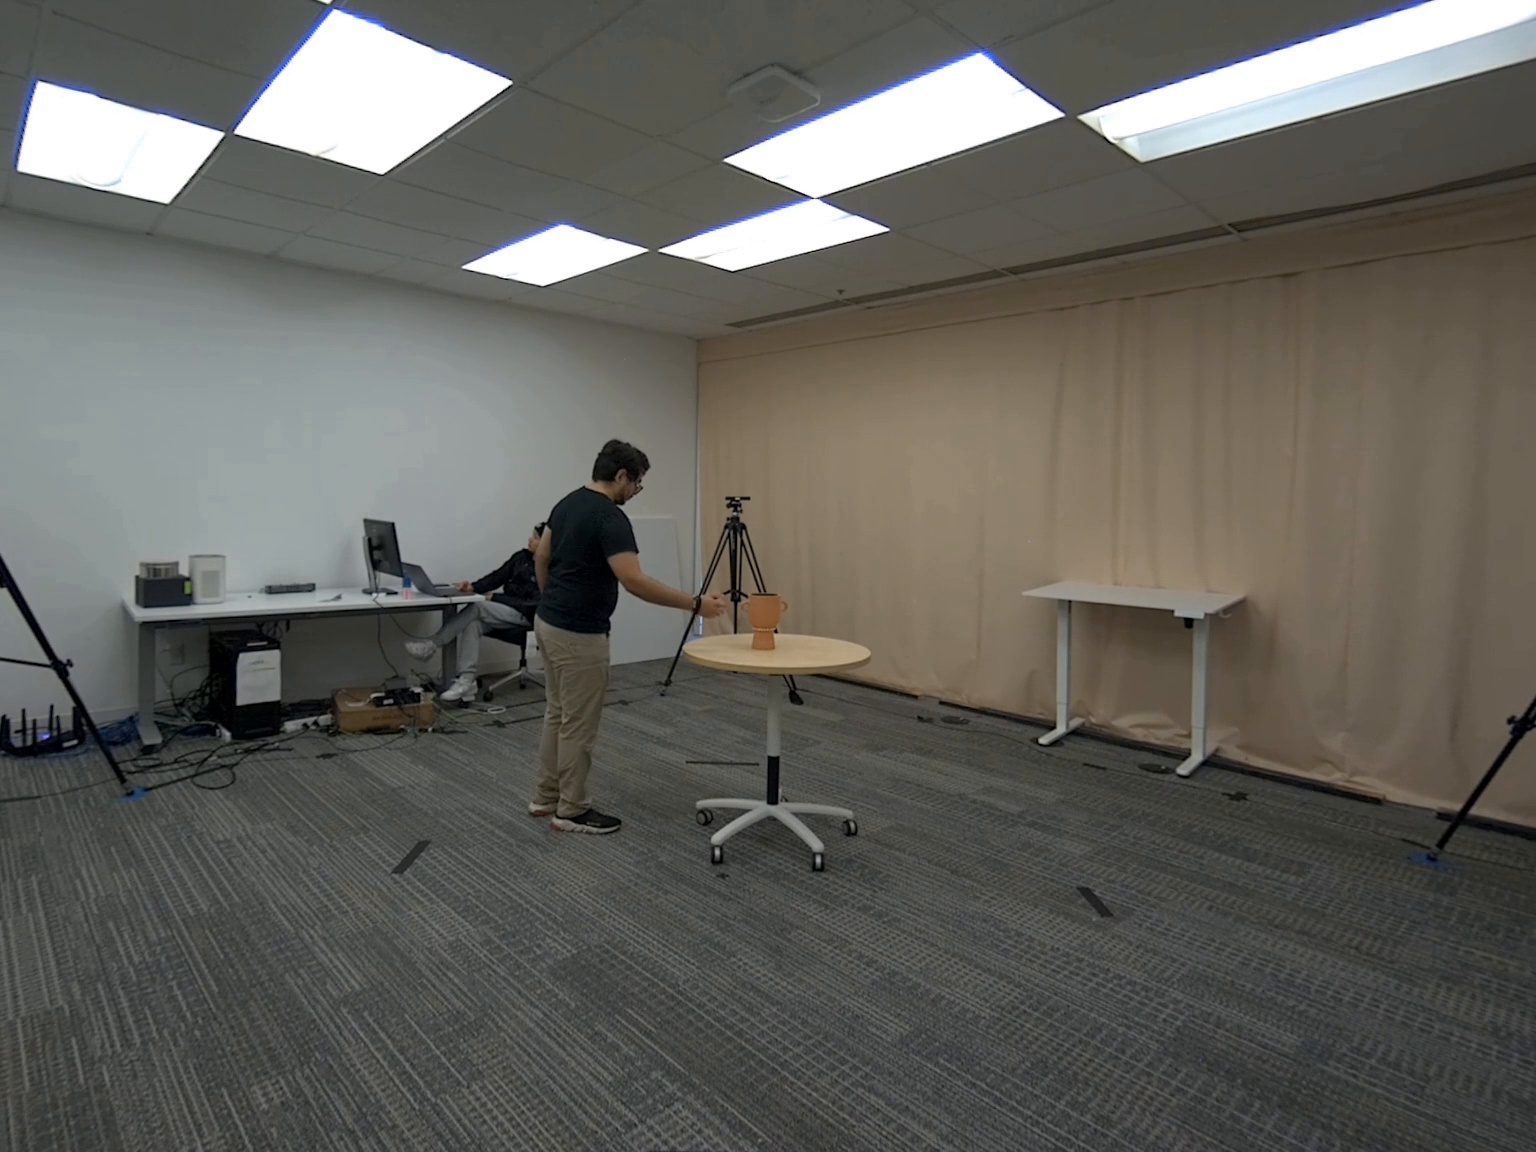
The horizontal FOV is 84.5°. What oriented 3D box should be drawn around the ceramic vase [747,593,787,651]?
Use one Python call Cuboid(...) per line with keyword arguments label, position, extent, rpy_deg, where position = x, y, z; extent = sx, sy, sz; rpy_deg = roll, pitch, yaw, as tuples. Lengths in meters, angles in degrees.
Cuboid(label="ceramic vase", position=(-0.024, 0.183, 3.438), extent=(0.162, 0.219, 0.132), rpy_deg=(4, 6, 27))
